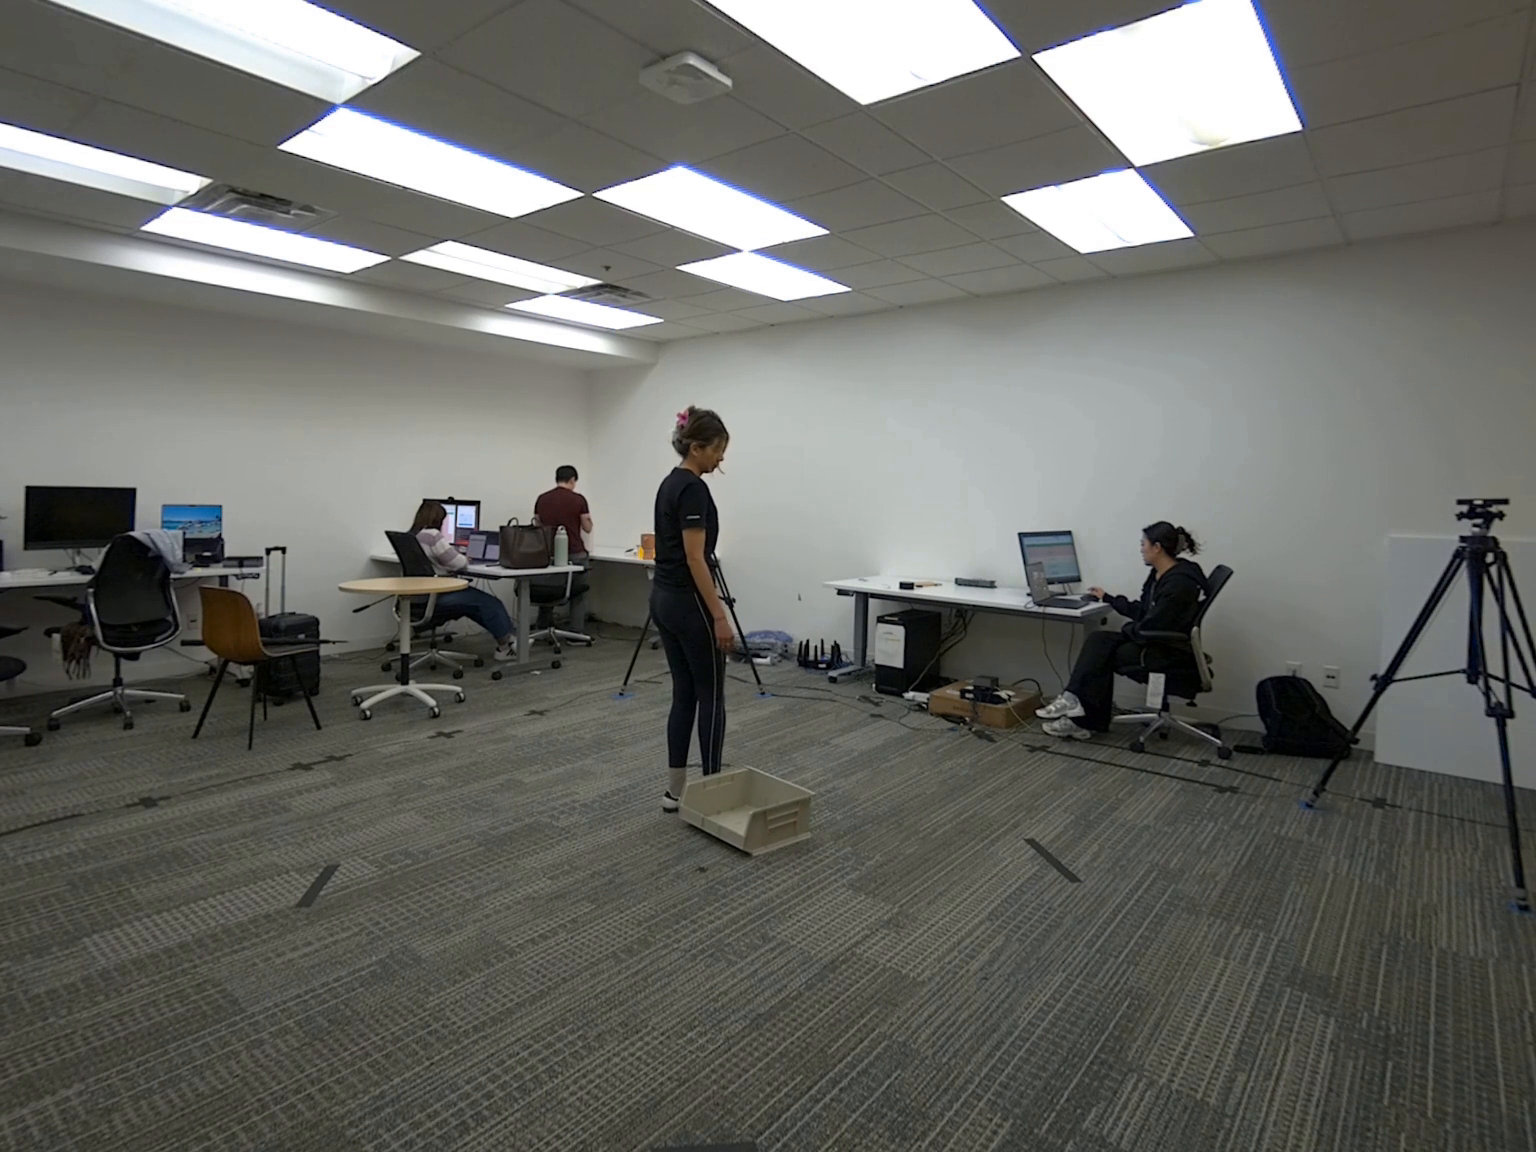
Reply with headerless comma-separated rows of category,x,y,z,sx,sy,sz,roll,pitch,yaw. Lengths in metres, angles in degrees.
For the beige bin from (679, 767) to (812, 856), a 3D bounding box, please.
beige bin,-0.094,0.950,3.454,0.366,0.188,0.437,-2,5,-40
